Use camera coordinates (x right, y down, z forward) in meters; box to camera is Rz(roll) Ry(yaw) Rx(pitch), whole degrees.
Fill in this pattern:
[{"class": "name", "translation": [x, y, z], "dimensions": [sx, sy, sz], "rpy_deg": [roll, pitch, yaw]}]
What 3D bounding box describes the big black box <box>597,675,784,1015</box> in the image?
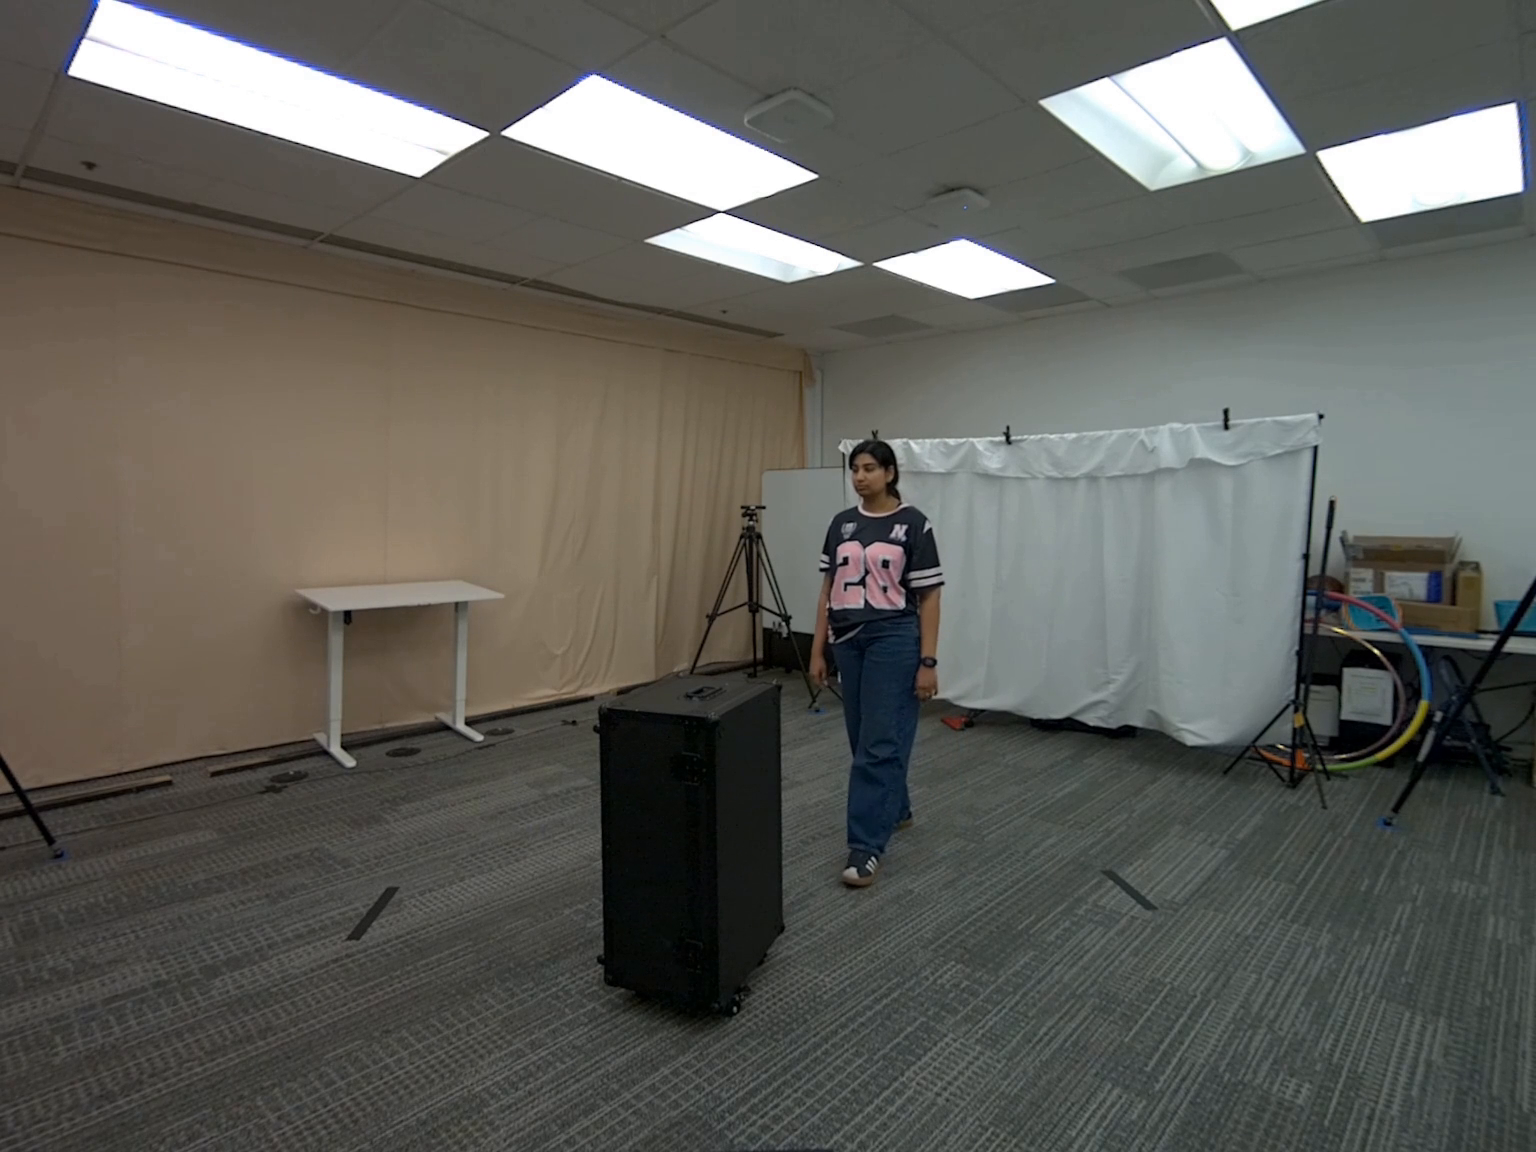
[{"class": "big black box", "translation": [-0.211, 0.766, 2.452], "dimensions": [0.394, 0.867, 0.512], "rpy_deg": [0, 3, 23]}]
